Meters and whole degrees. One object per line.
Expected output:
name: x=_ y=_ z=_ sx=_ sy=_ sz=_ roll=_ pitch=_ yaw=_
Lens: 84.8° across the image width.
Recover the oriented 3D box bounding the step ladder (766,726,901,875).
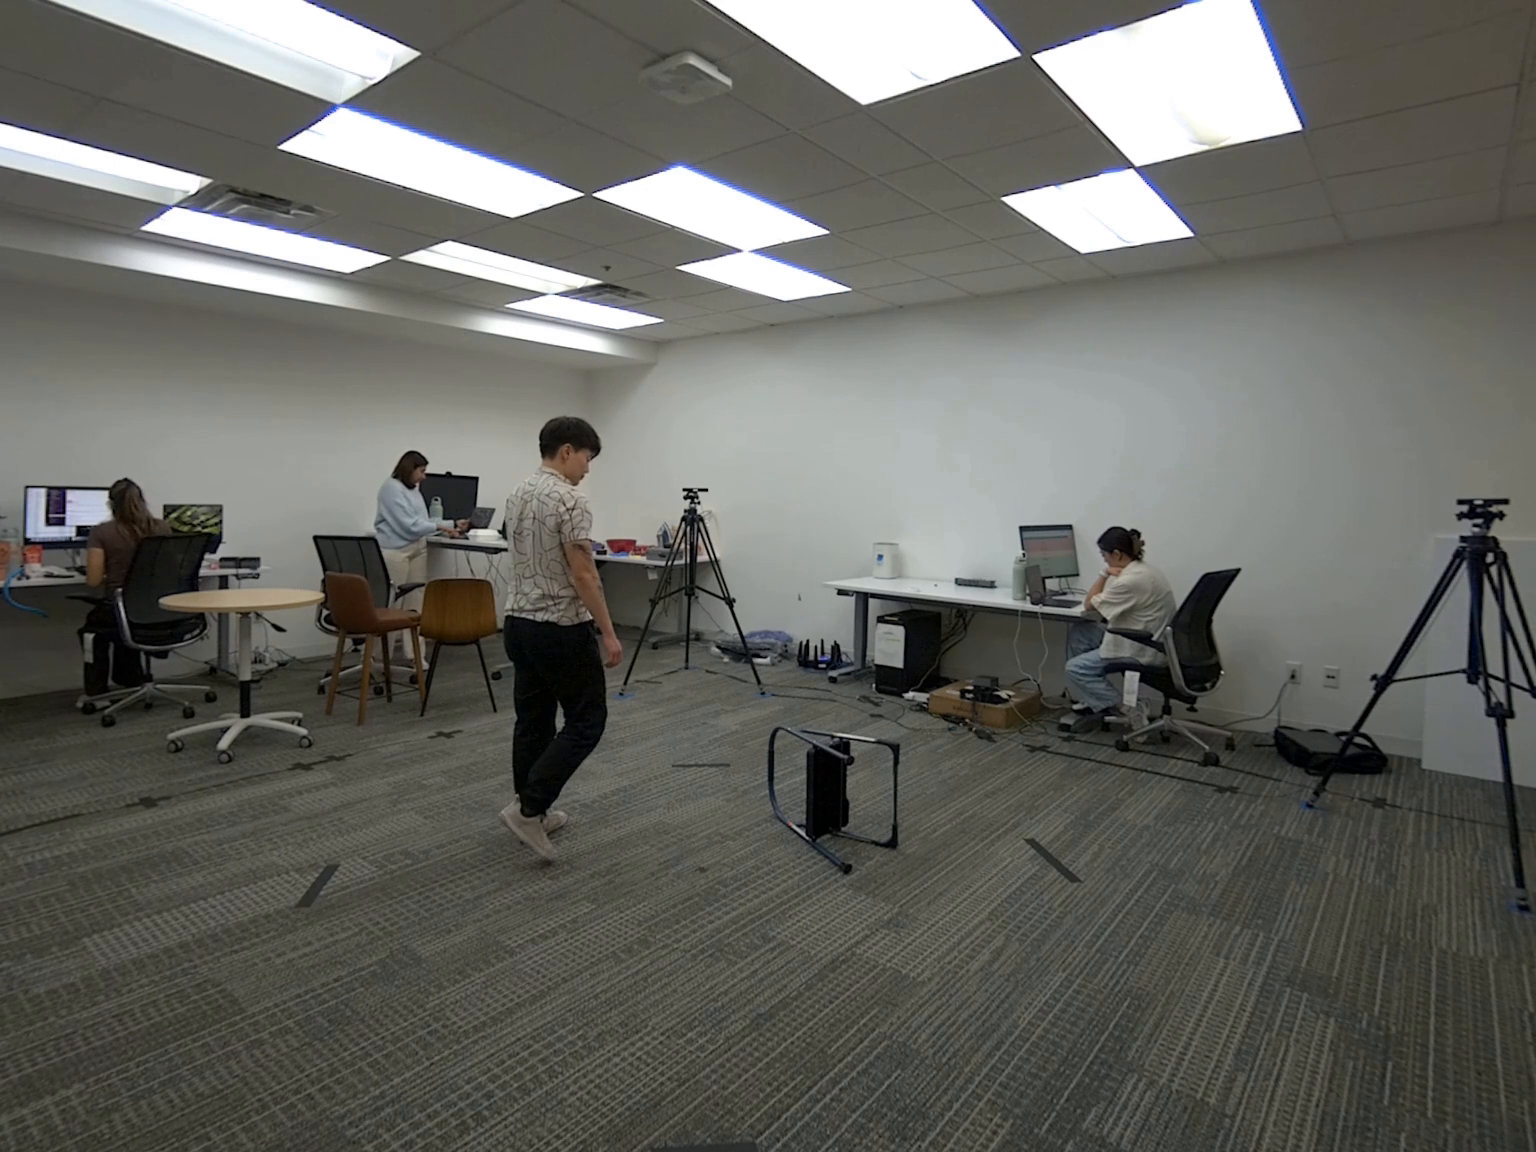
step ladder: x=0.172 y=0.841 z=3.420 sx=0.627 sy=0.430 sz=0.338 roll=5 pitch=4 yaw=44
